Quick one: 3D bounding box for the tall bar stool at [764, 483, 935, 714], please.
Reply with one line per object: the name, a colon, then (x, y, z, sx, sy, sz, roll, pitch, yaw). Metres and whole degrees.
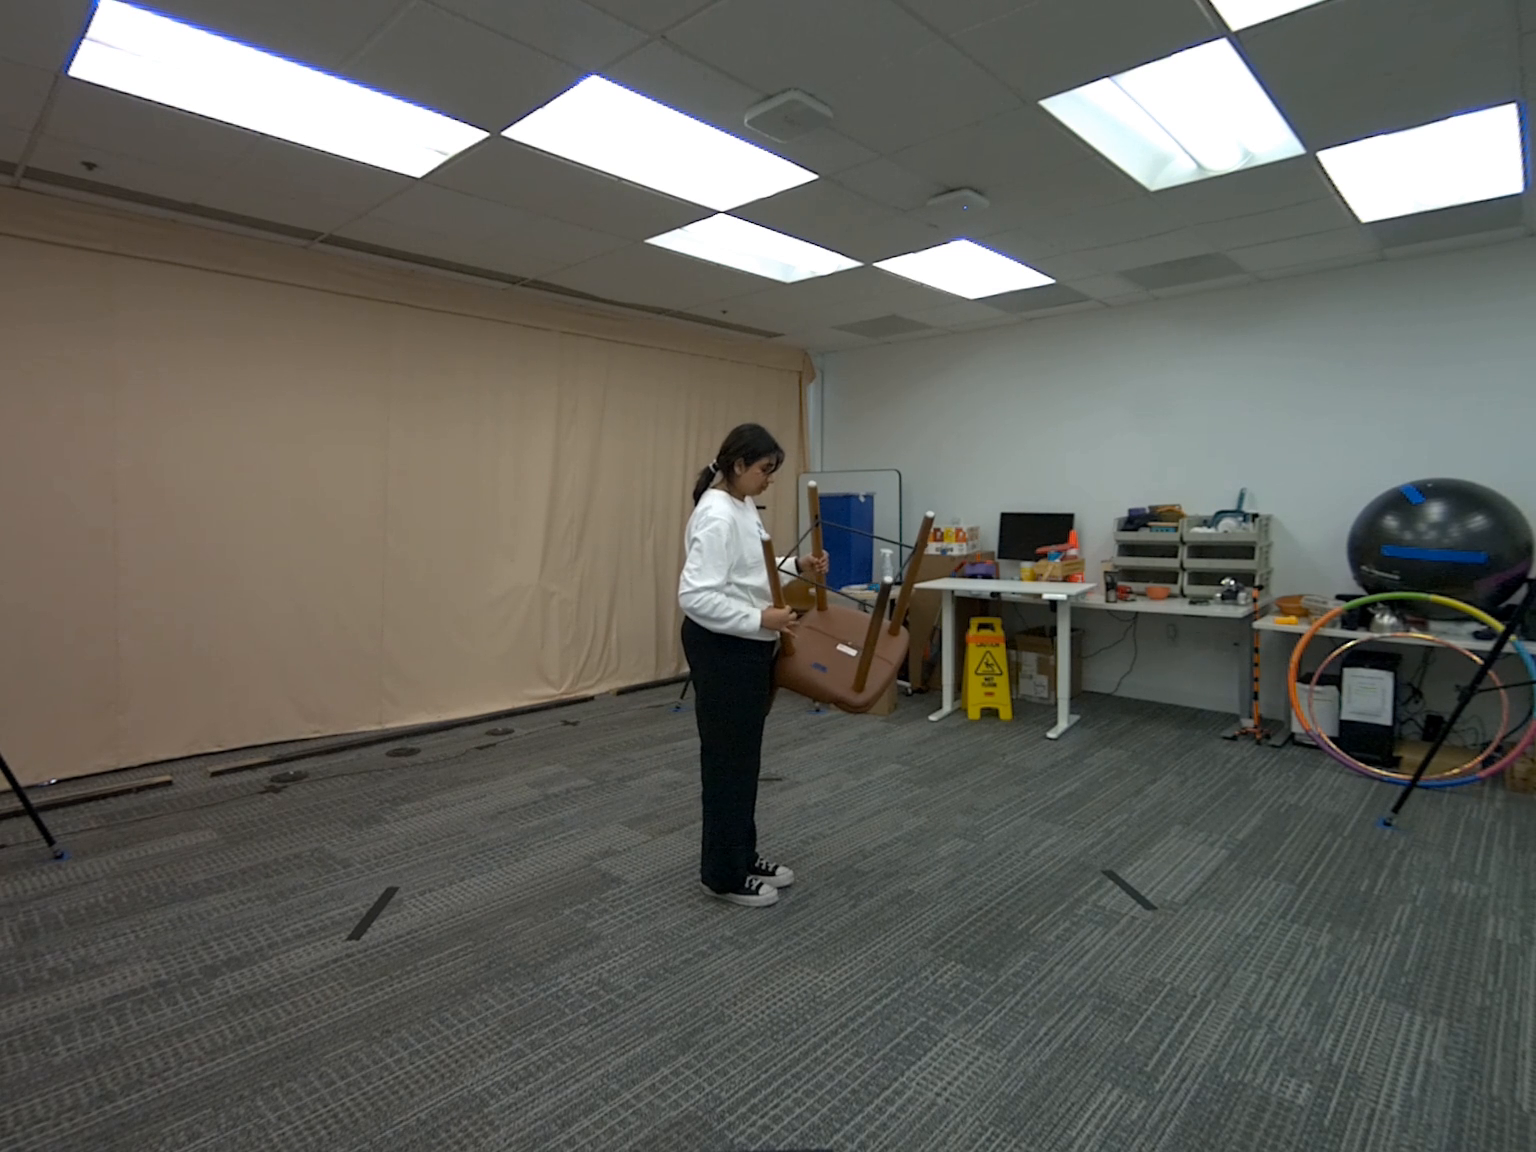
tall bar stool: (0.262, 0.176, 3.006, 0.480, 0.874, 0.453, 20, 42, 21)
